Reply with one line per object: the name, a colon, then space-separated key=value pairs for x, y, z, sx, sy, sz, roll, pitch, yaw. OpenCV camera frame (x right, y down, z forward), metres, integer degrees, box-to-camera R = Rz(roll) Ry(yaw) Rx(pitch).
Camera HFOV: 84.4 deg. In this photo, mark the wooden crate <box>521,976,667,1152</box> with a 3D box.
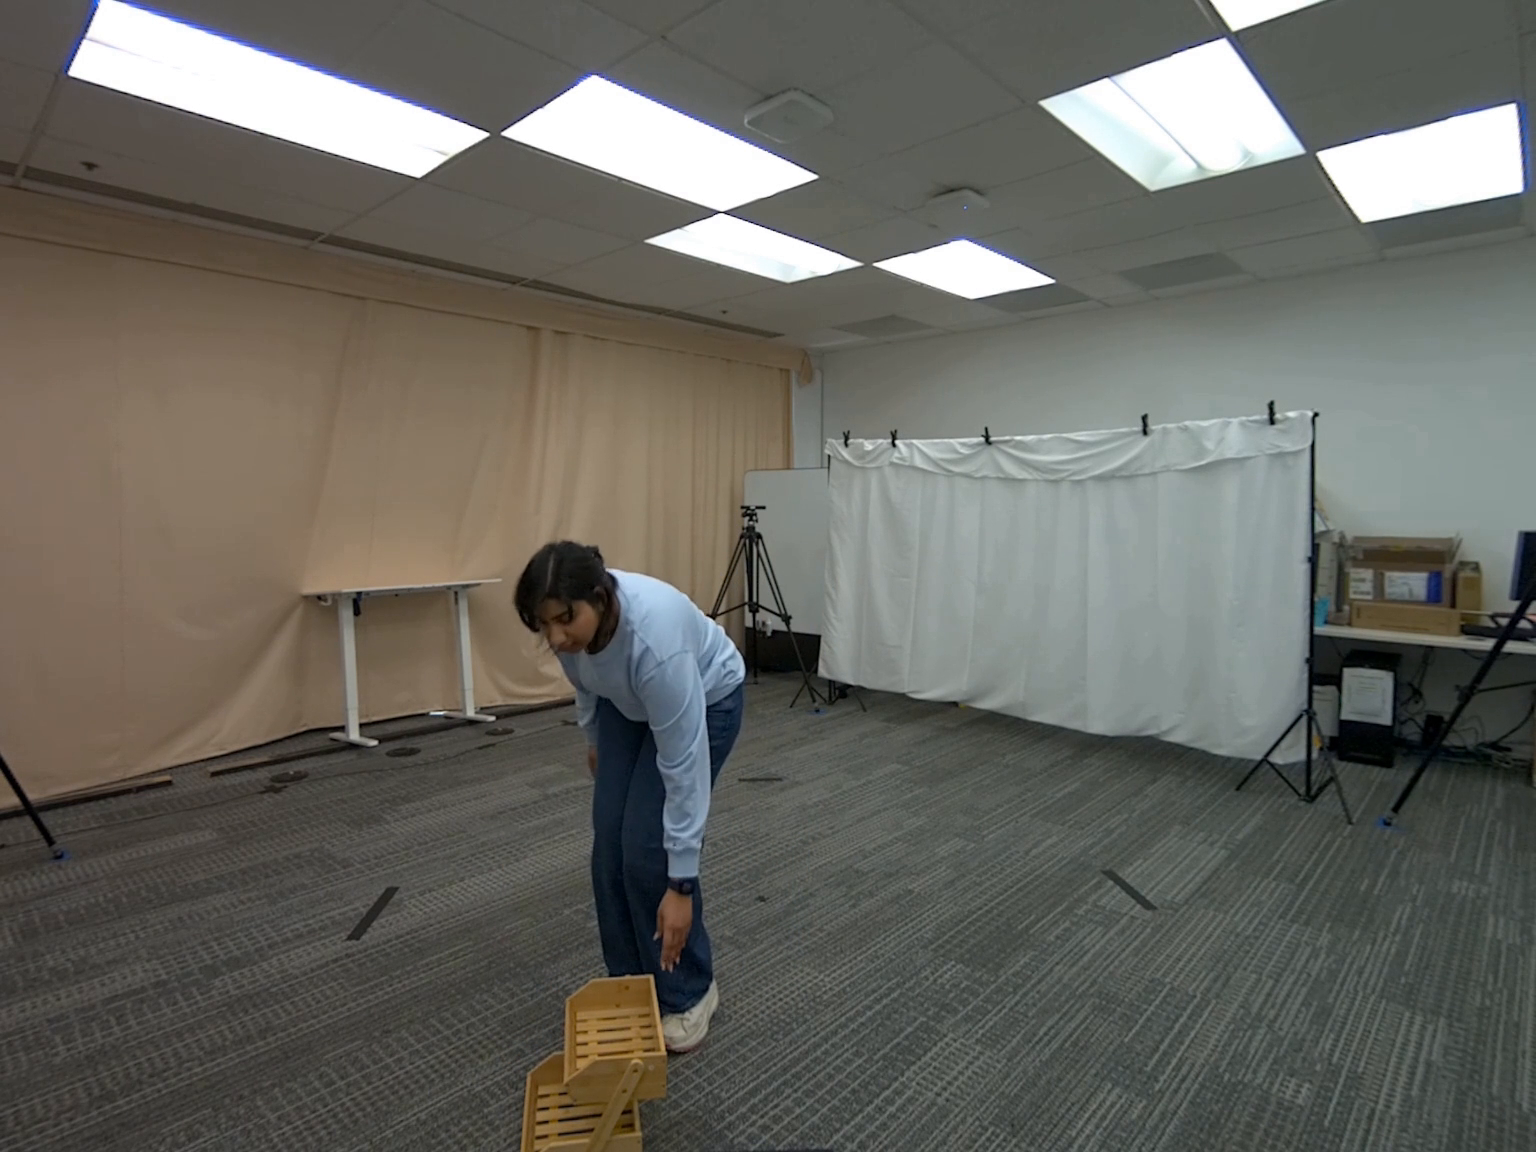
wooden crate: x=-0.399 y=1.102 z=1.864 sx=0.299 sy=0.273 sz=0.329 roll=0 pitch=4 yaw=-11
